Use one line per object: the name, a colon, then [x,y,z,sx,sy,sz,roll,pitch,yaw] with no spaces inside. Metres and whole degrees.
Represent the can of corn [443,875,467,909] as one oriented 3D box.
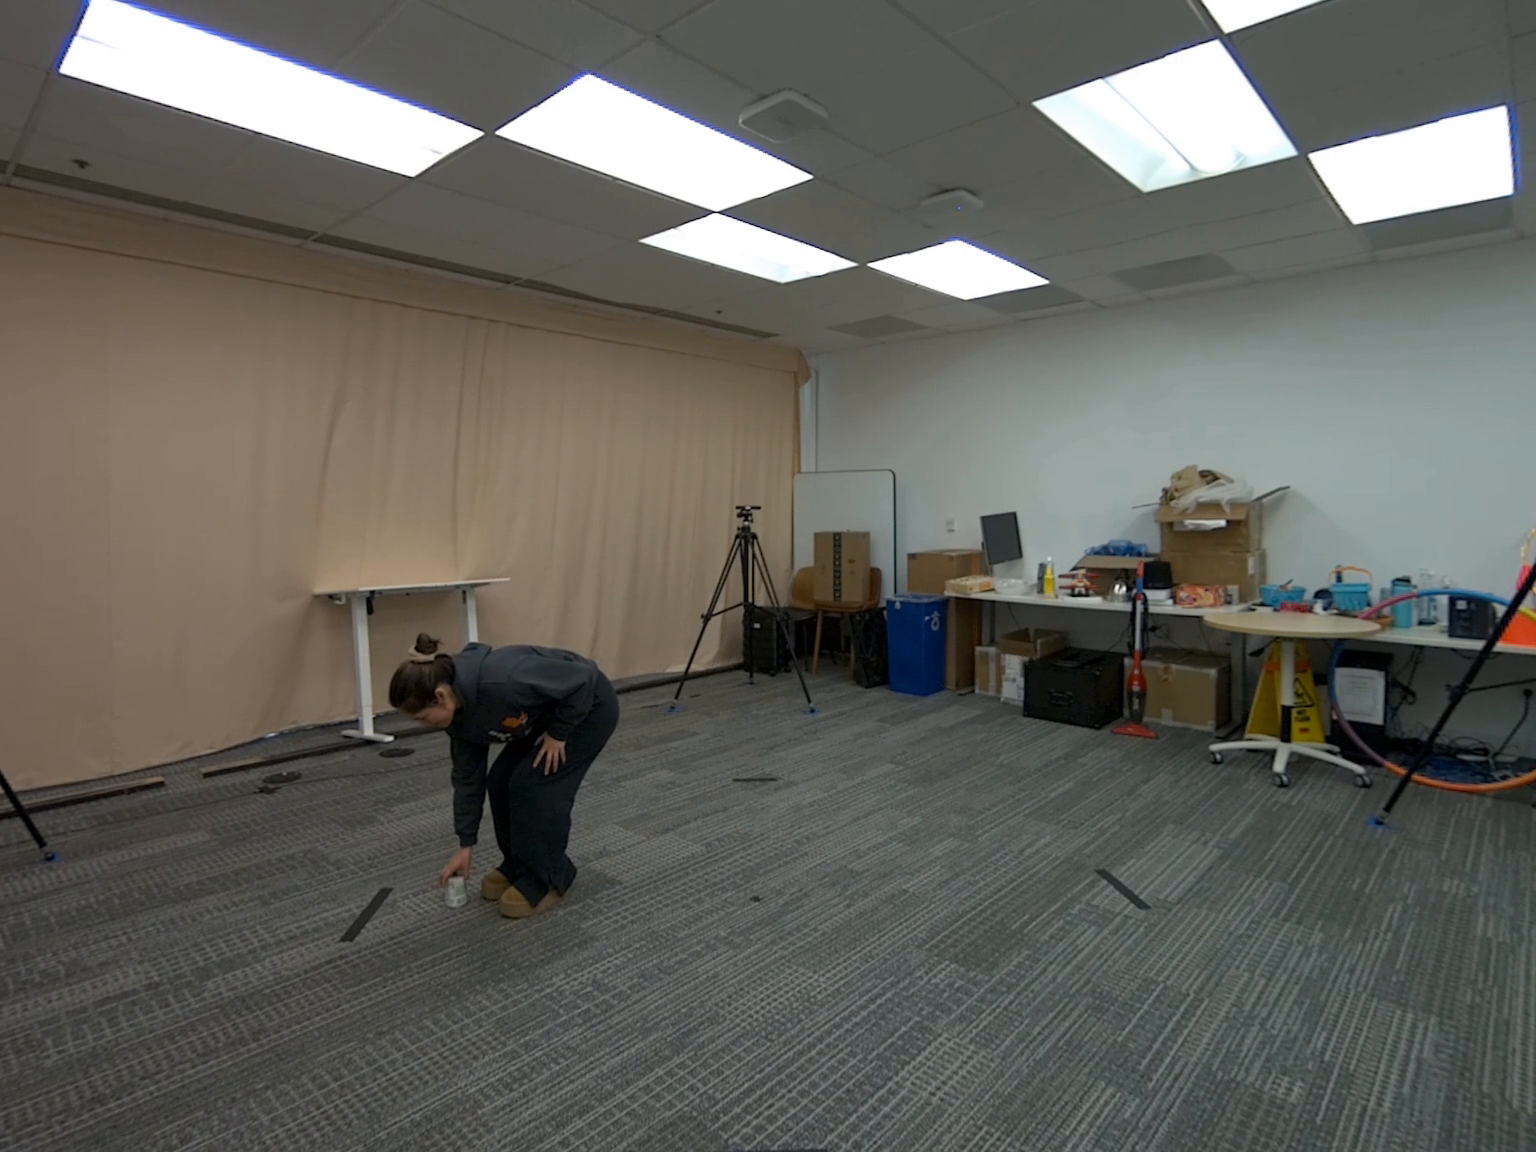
can of corn: [-1.084,1.115,2.969,0.074,0.111,0.074,0,3,-2]
